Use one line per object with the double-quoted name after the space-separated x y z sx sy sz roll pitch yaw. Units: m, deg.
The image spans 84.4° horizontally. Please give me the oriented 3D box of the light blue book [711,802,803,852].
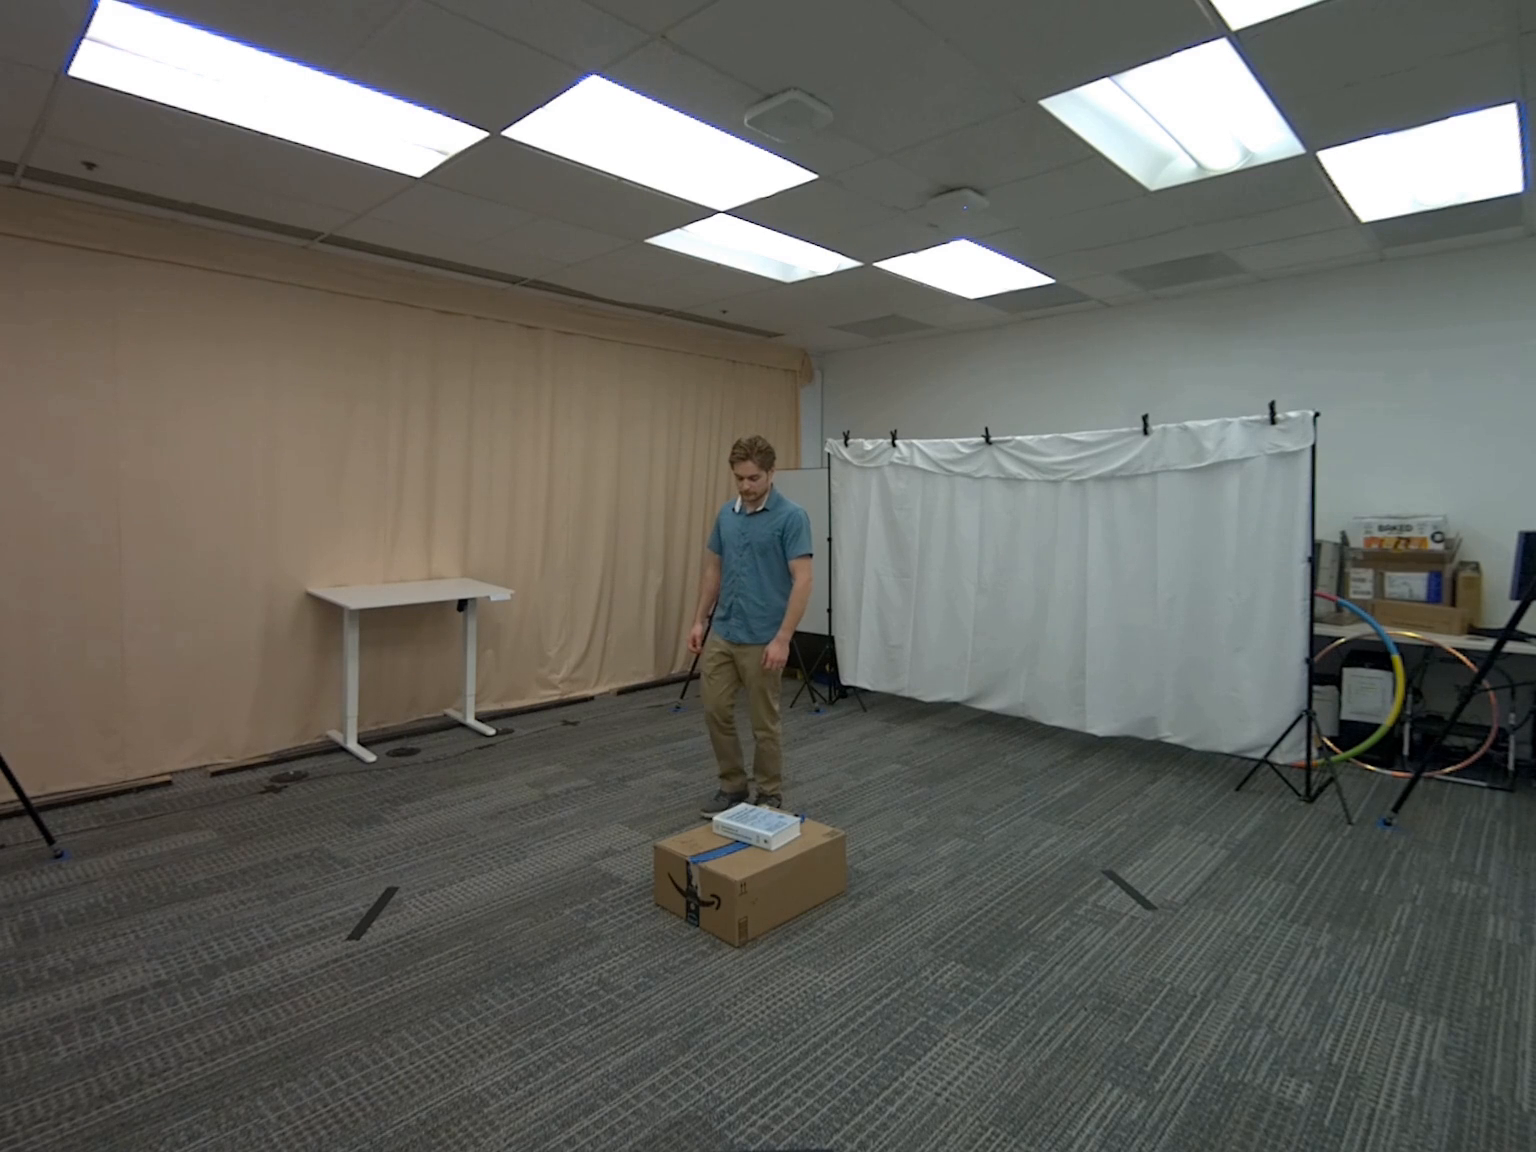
-0.038 0.893 3.032 0.269 0.059 0.186 4 6 37 "light blue book"
